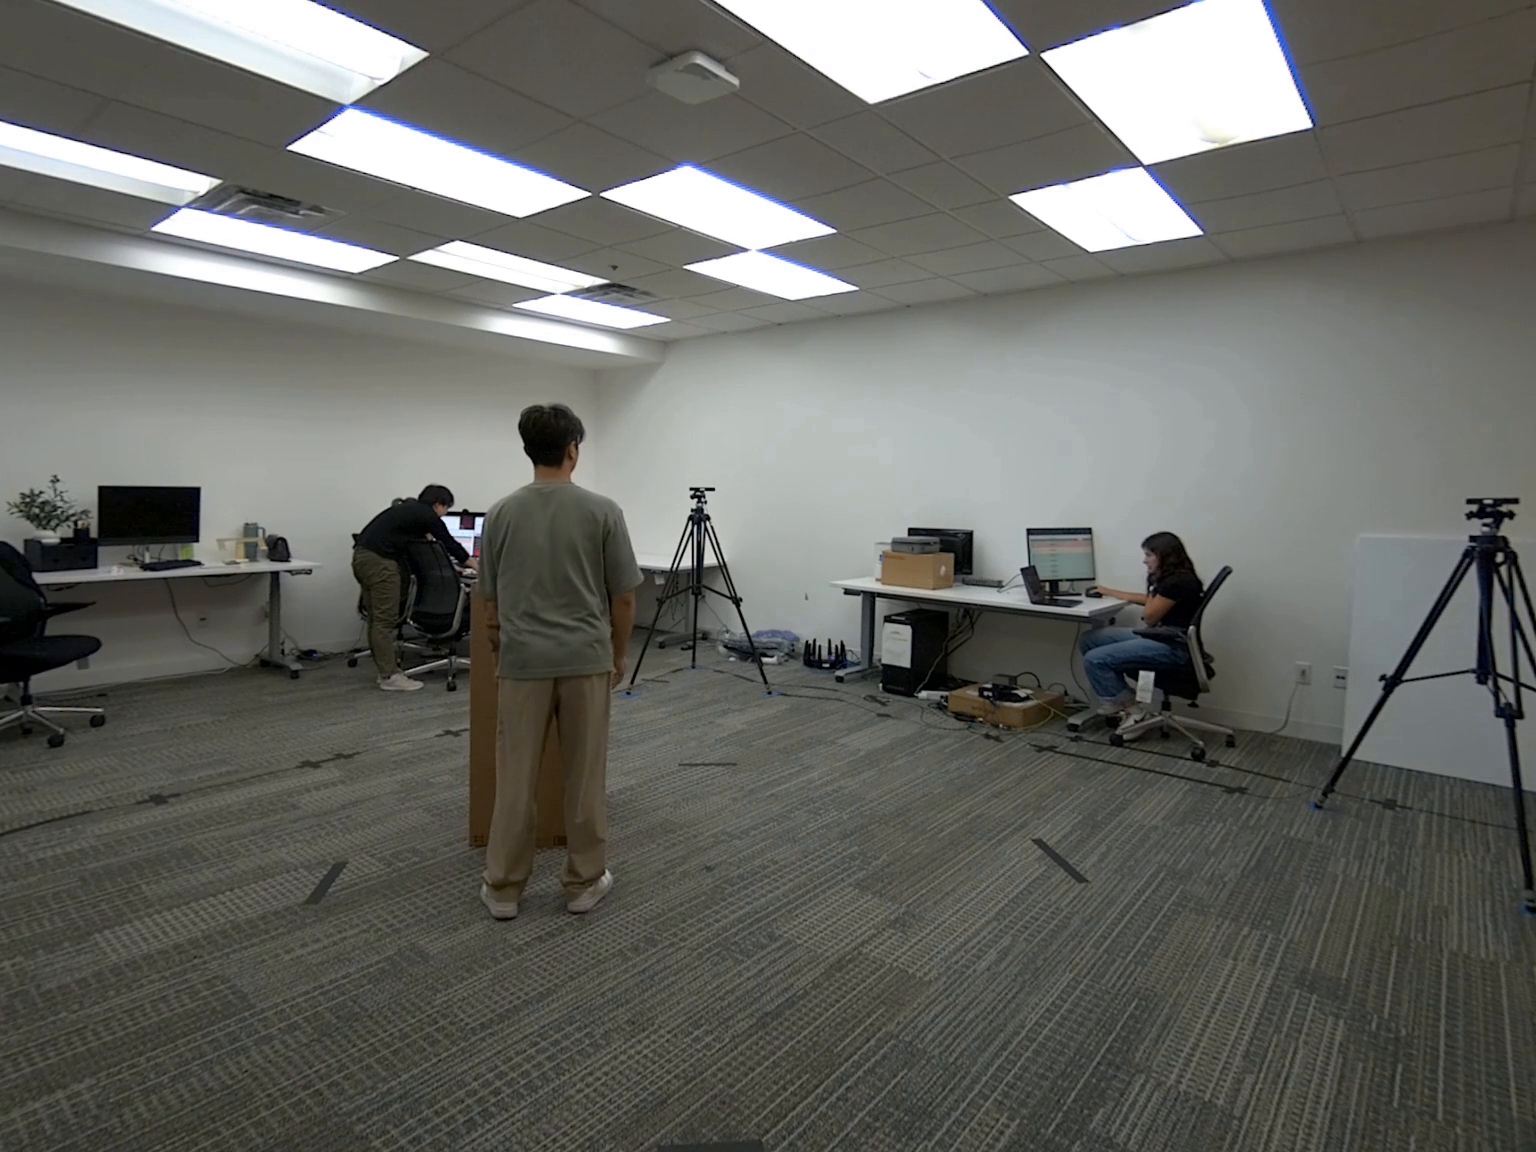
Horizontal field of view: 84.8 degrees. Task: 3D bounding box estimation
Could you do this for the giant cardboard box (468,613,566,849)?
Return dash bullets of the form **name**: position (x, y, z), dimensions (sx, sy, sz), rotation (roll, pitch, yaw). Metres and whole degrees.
- **giant cardboard box**: position (-0.953, 0.501, 3.520), dimensions (0.426, 1.023, 0.579), rotation (2, 3, -1)
